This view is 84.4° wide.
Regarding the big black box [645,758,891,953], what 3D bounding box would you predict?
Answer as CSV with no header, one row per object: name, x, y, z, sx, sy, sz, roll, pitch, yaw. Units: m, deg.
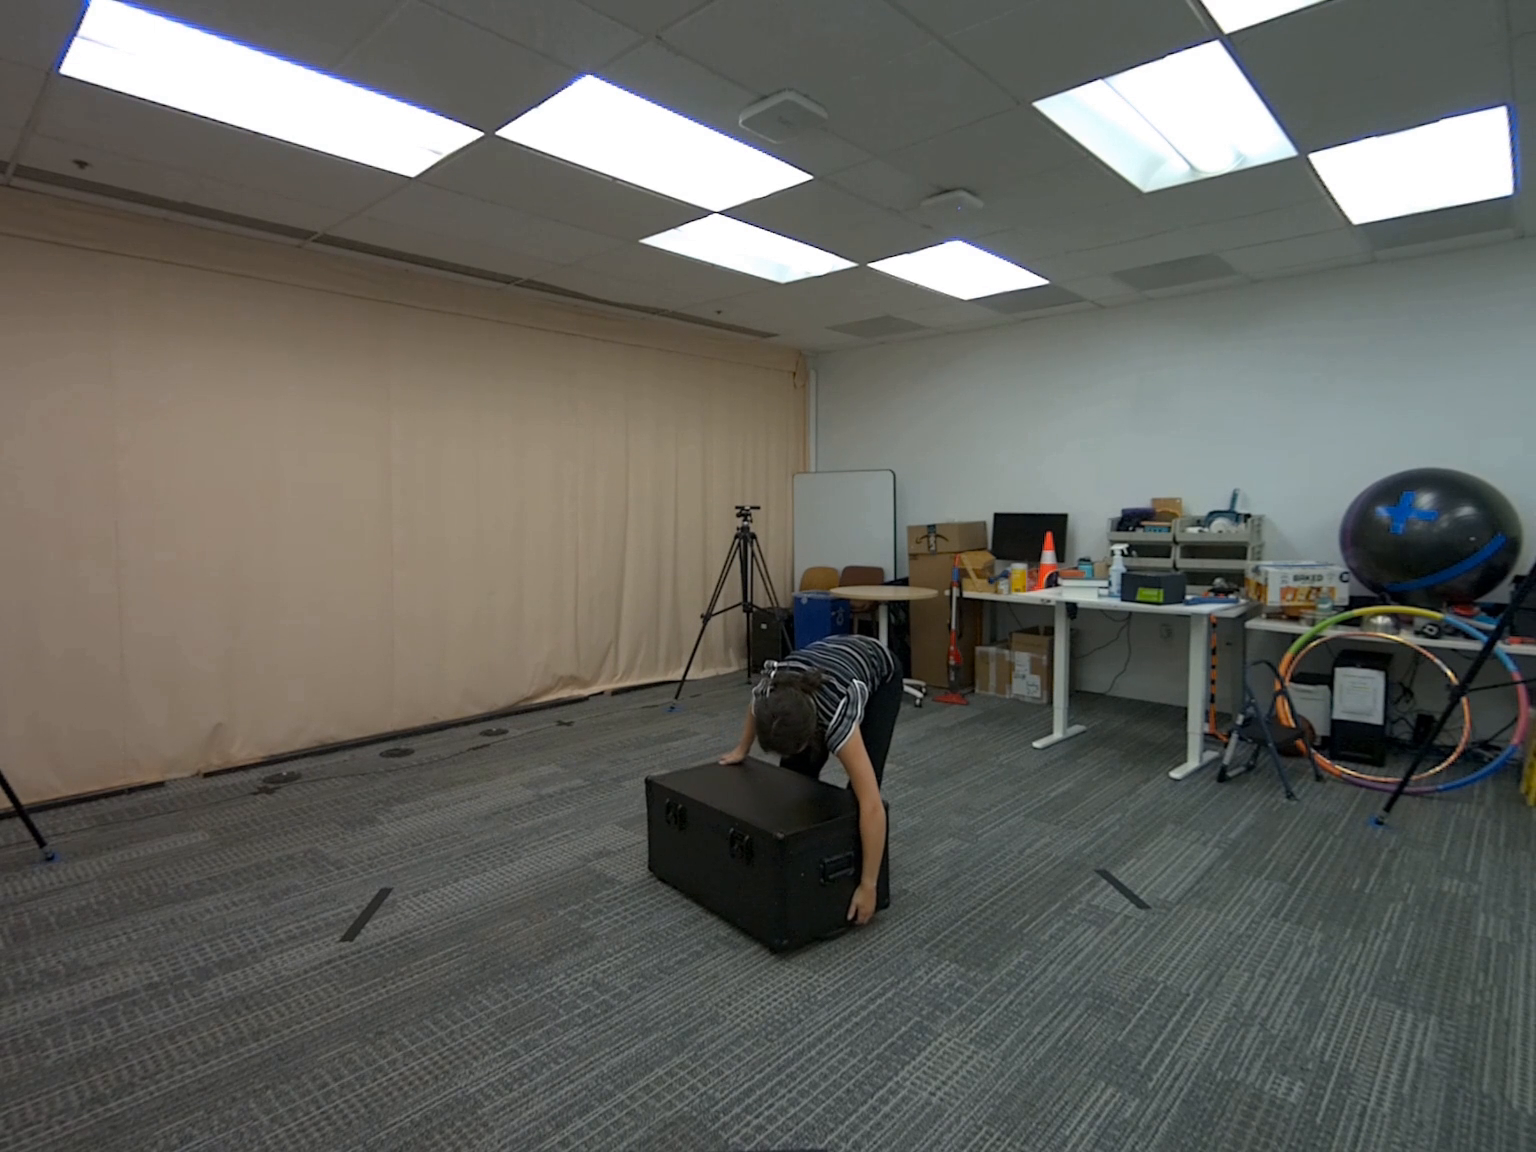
big black box,-0.046,0.945,3.024,0.506,0.395,0.889,-3,5,-38
